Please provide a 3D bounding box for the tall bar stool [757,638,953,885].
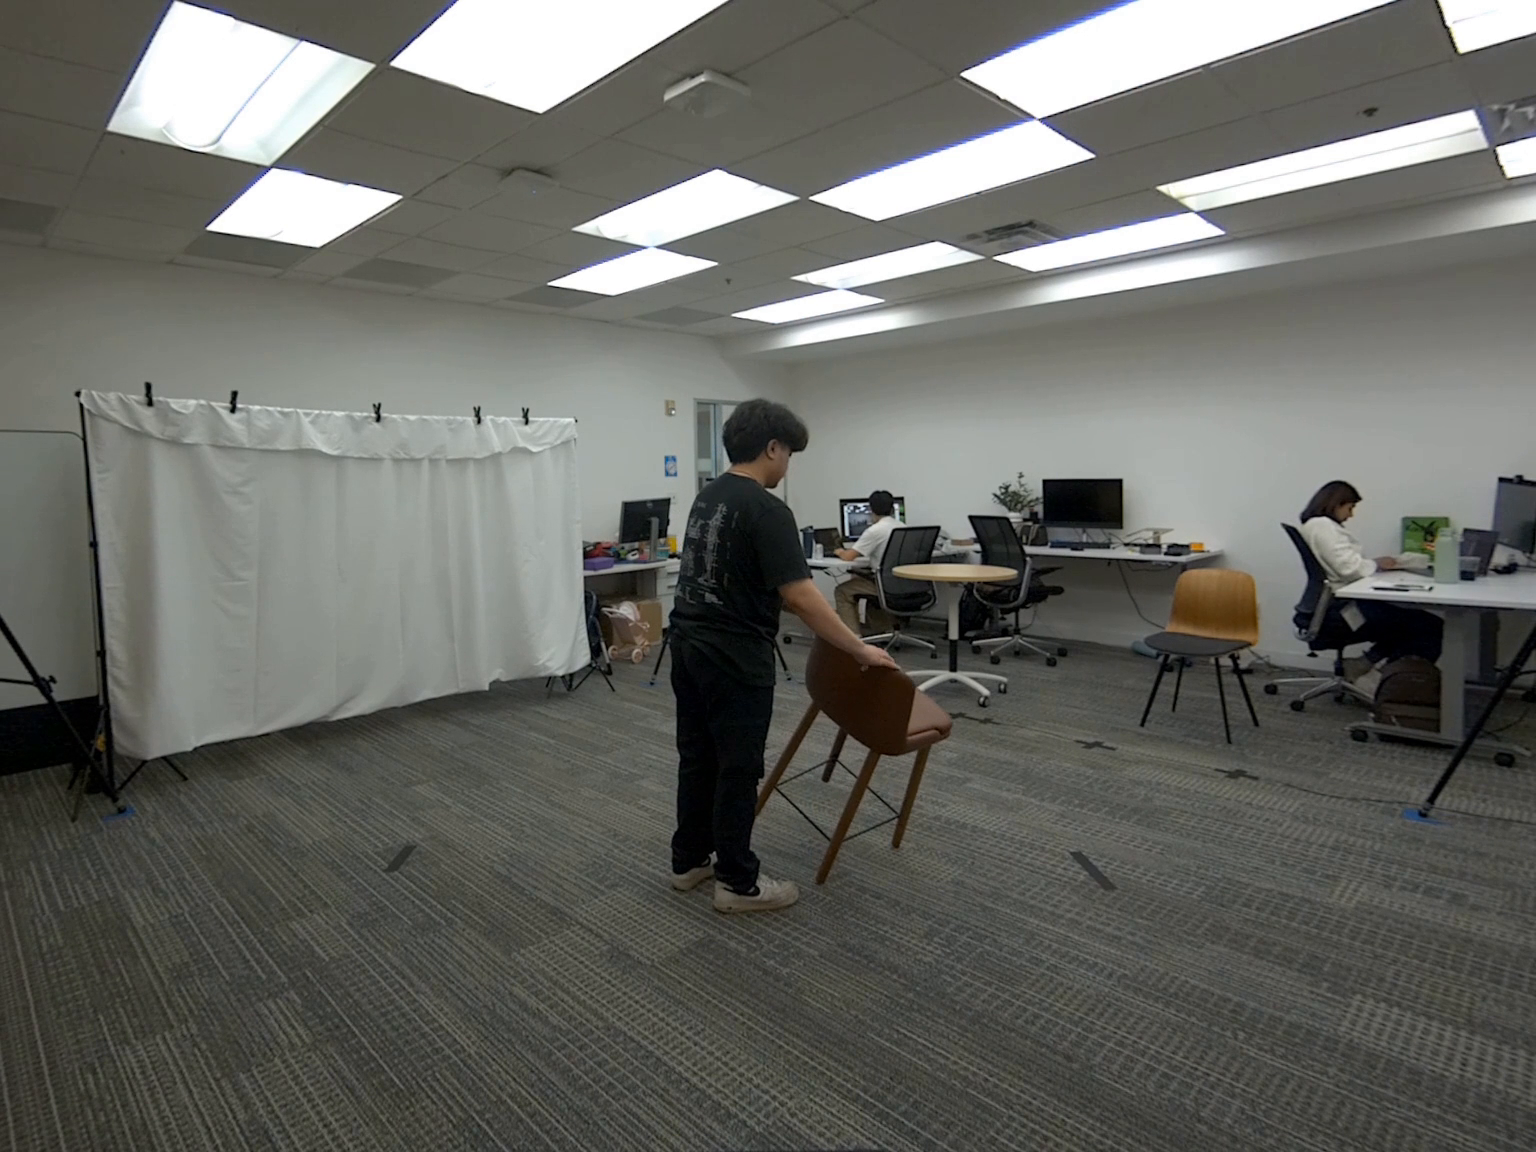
[{"bbox_3d":[0.334,0.571,3.027,0.456,0.878,0.474,-8,34,-44],"label":"tall bar stool"}]
